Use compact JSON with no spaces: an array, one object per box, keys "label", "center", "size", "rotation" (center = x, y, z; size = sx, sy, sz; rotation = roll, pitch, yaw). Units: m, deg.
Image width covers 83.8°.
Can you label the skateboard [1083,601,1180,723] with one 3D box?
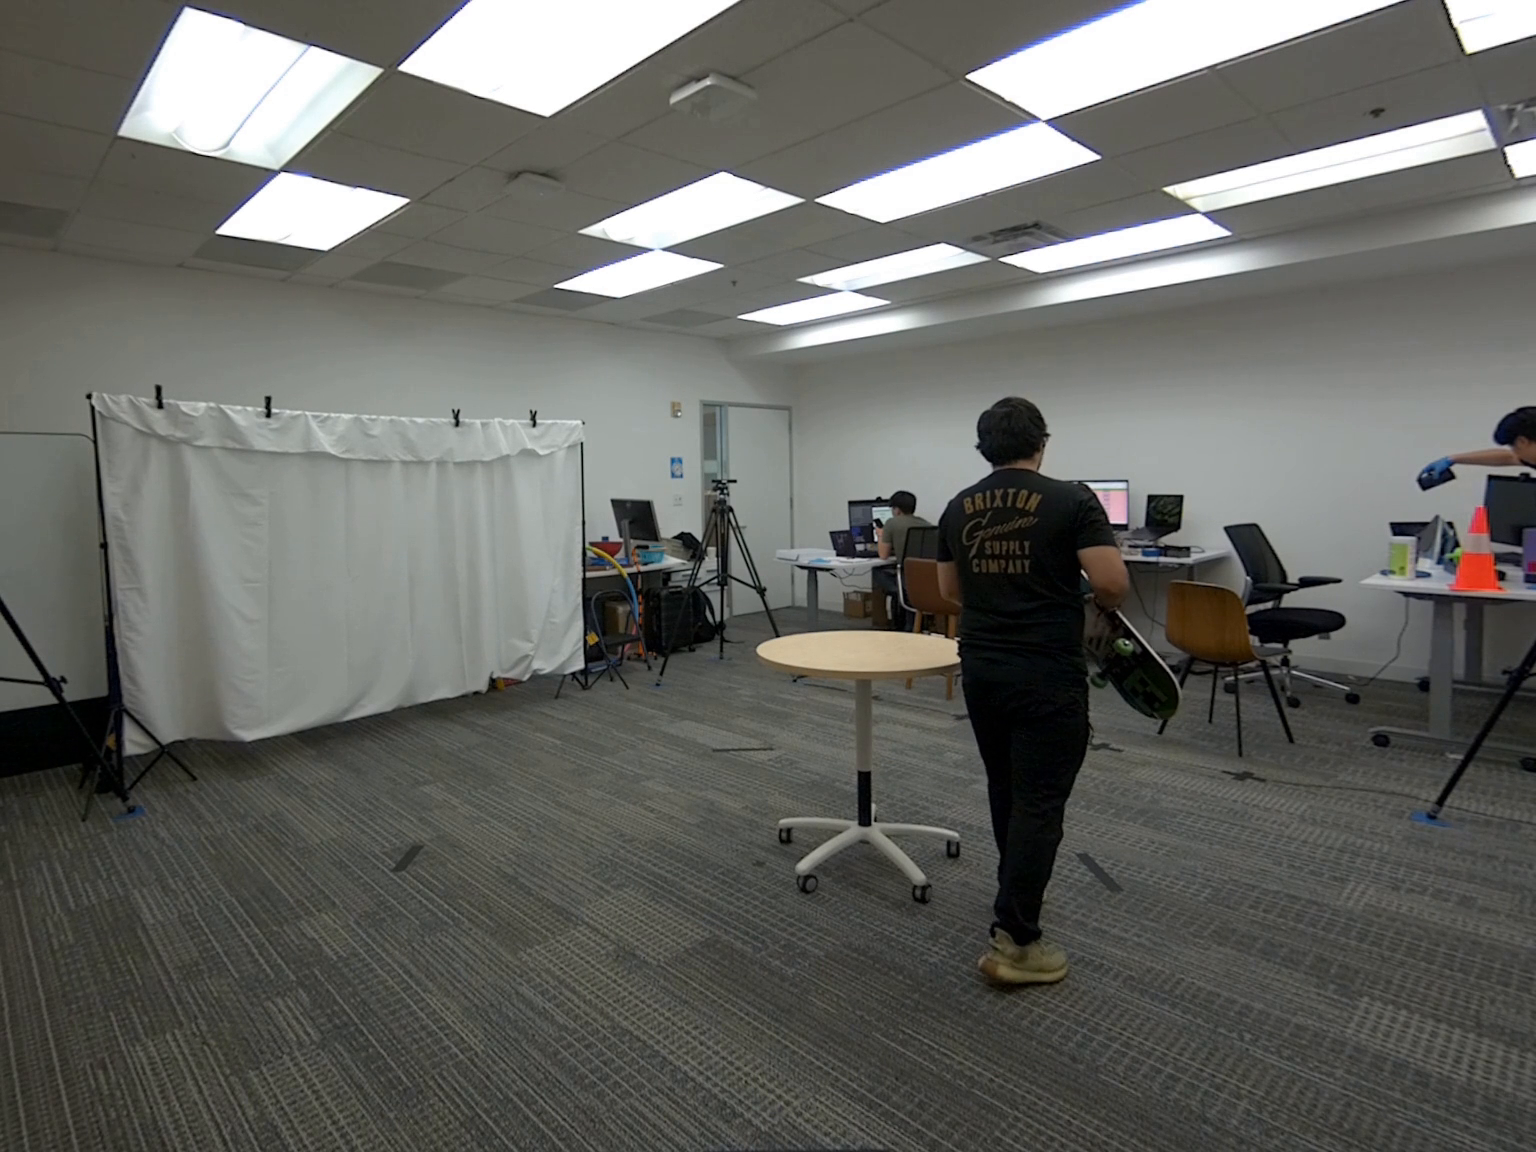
[{"label":"skateboard","center":[0.974,0.126,2.663],"size":[0.108,0.190,0.814],"rotation":[-6,47,-22]}]
